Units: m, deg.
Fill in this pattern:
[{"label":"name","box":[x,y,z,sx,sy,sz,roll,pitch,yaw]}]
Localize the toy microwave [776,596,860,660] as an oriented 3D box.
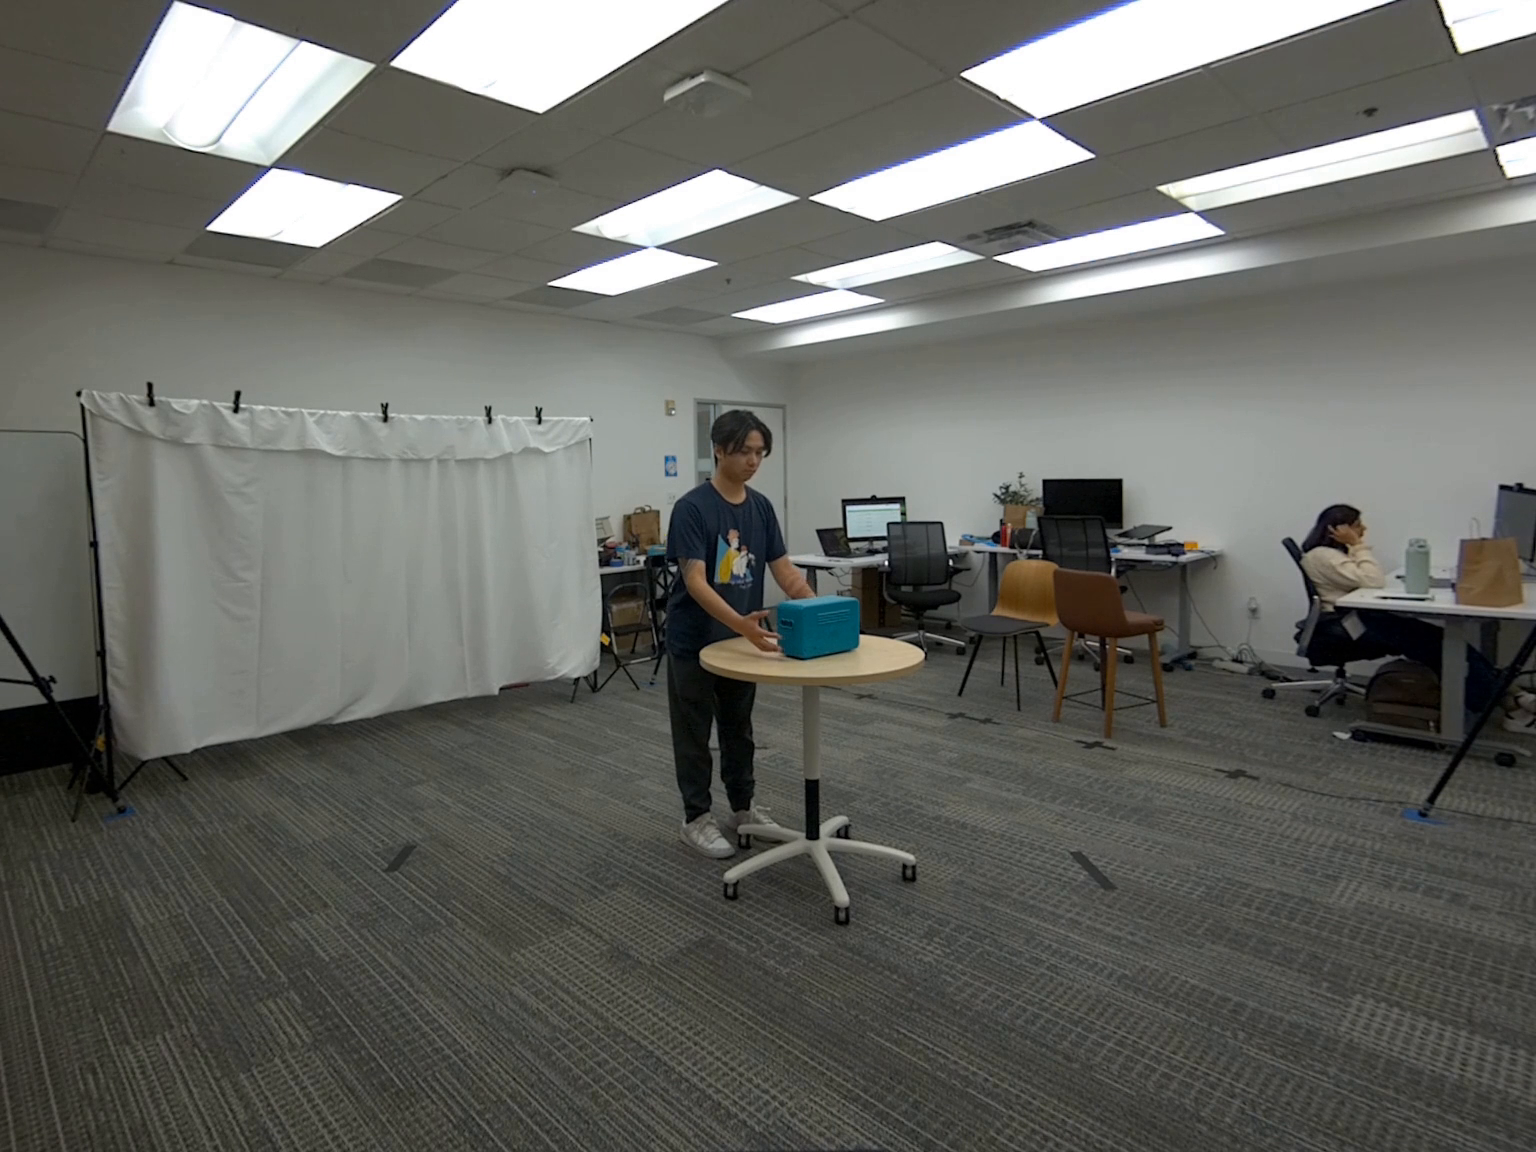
[{"label":"toy microwave","box":[0.172,0.174,2.917,0.279,0.183,0.157,-5,6,-38]}]
